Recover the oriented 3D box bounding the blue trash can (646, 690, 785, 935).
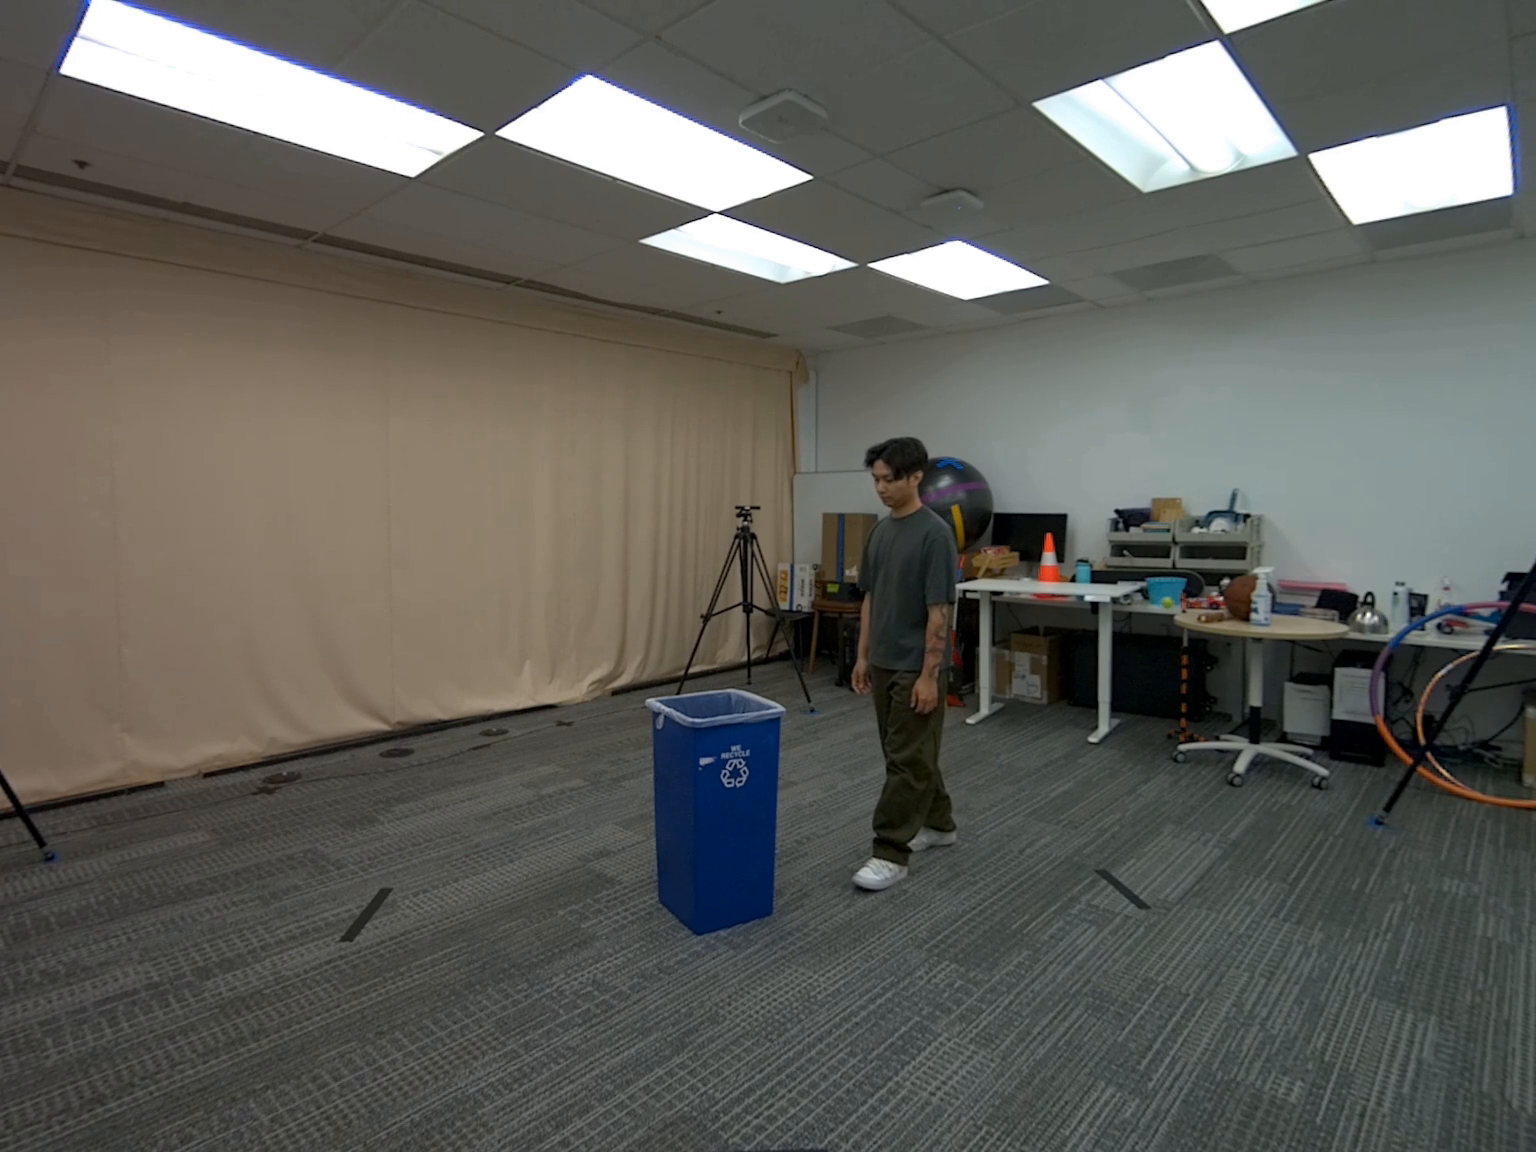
[{"bbox_3d":[-0.174,0.793,2.904,0.367,0.712,0.385,-1,3,-32],"label":"blue trash can"}]
